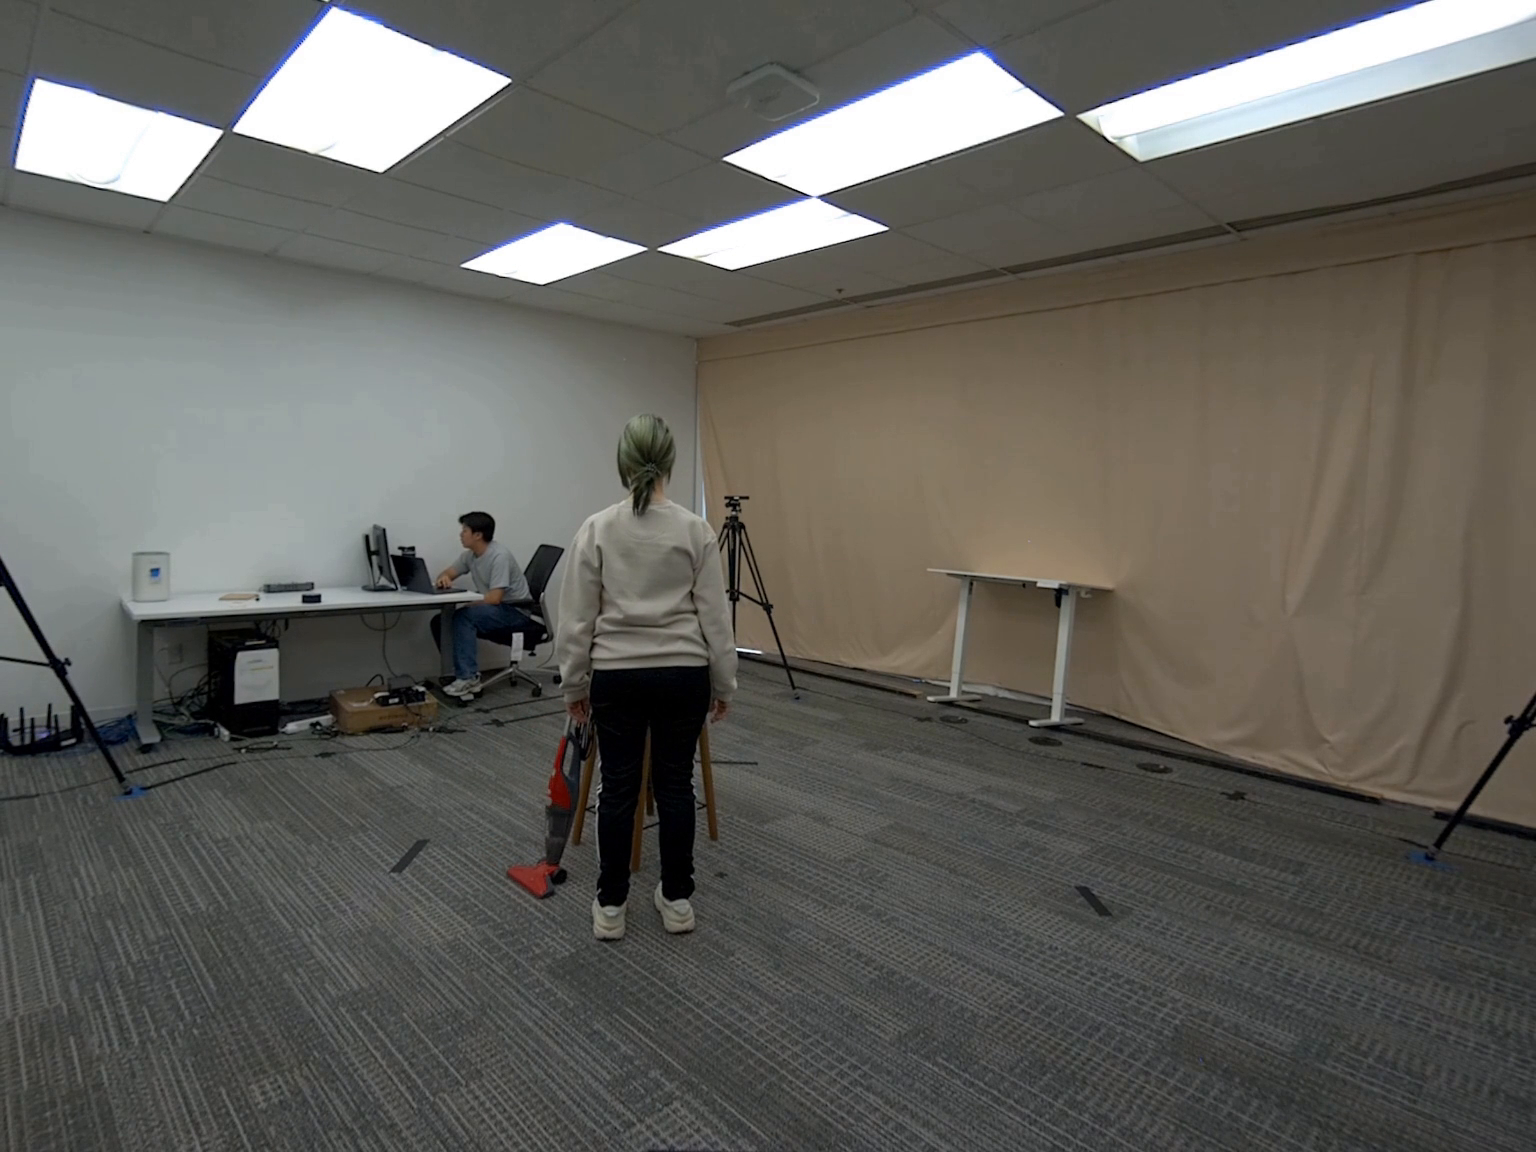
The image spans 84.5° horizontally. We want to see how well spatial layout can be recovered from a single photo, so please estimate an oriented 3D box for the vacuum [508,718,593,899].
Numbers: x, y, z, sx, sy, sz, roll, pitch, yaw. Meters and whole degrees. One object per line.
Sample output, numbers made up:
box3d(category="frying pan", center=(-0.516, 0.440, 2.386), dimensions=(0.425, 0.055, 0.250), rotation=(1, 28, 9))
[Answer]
box3d(category="vacuum", center=(-0.732, 0.597, 3.081), dimensions=(0.259, 1.055, 0.140), rotation=(1, -12, 44))
